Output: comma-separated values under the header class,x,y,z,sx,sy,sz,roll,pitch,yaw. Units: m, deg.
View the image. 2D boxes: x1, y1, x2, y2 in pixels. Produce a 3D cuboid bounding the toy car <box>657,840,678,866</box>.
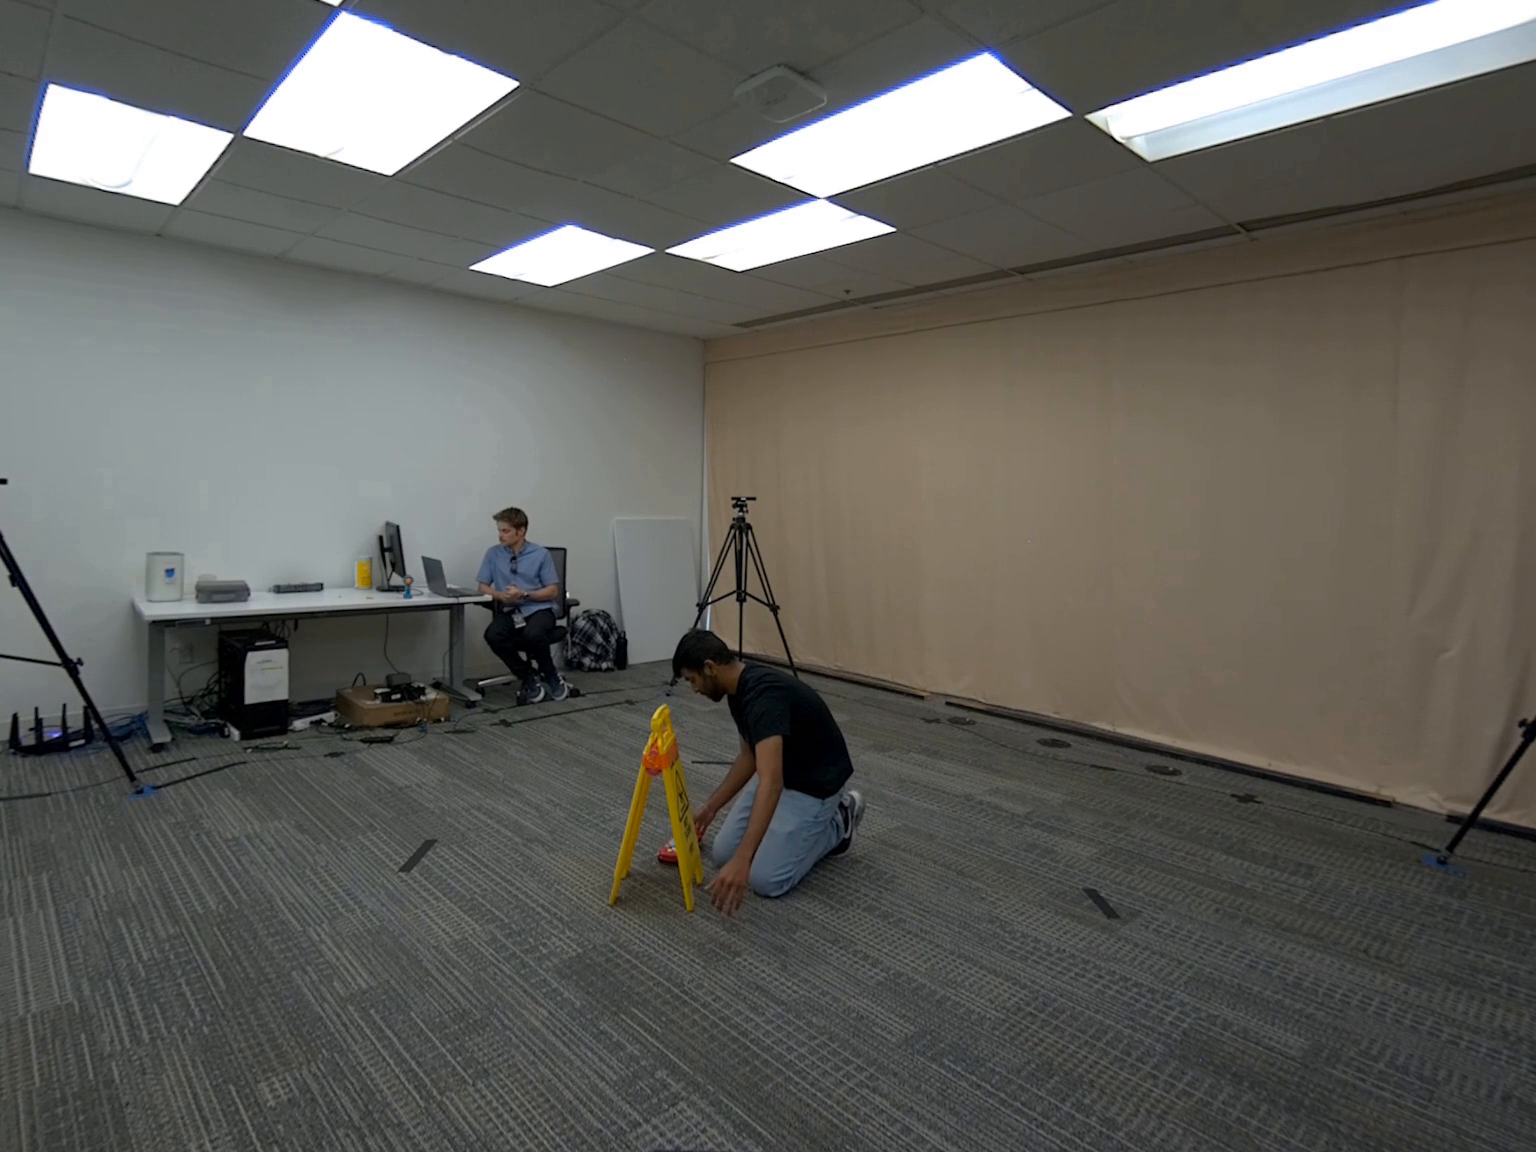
class,x,y,z,sx,sy,sz,roll,pitch,yaw
toy car,-0.330,1.049,3.295,0.132,0.082,0.254,0,15,17
